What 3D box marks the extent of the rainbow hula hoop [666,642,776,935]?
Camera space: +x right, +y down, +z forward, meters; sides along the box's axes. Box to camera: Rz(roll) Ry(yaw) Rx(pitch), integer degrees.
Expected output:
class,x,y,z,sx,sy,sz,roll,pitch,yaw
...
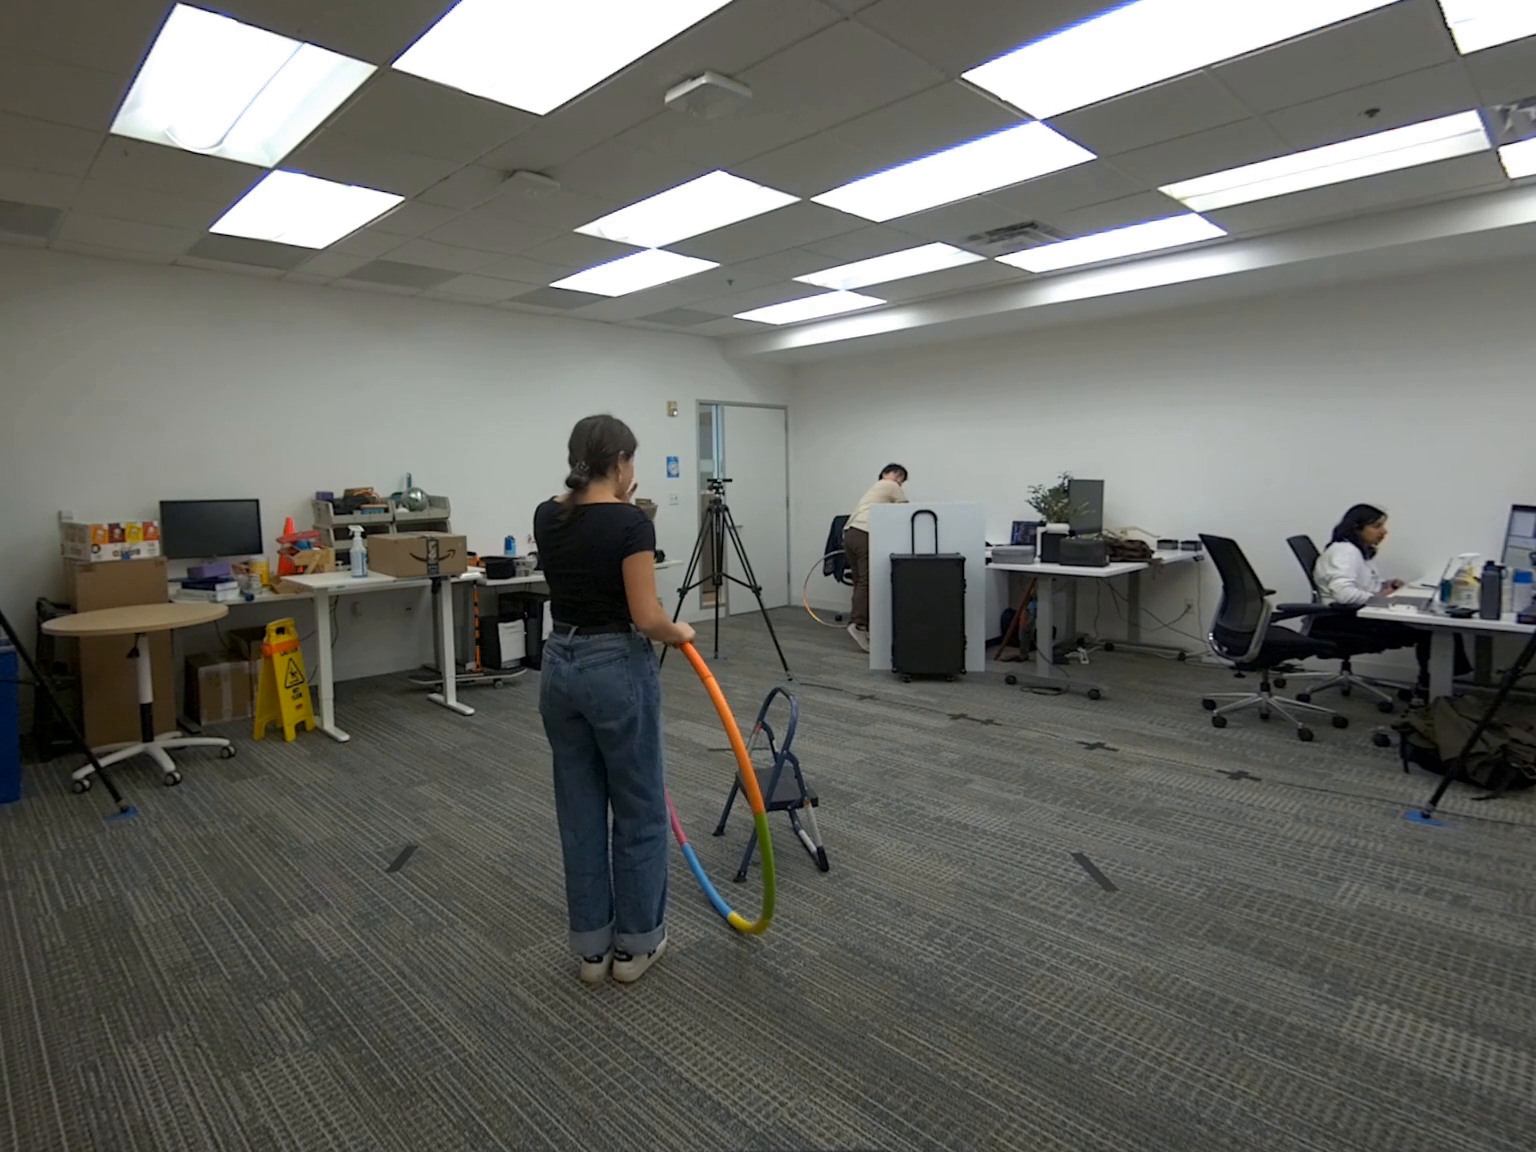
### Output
class,x,y,z,sx,sy,sz,roll,pitch,yaw
rainbow hula hoop,-0.222,0.621,2.685,0.035,0.969,1.003,-15,10,-24
